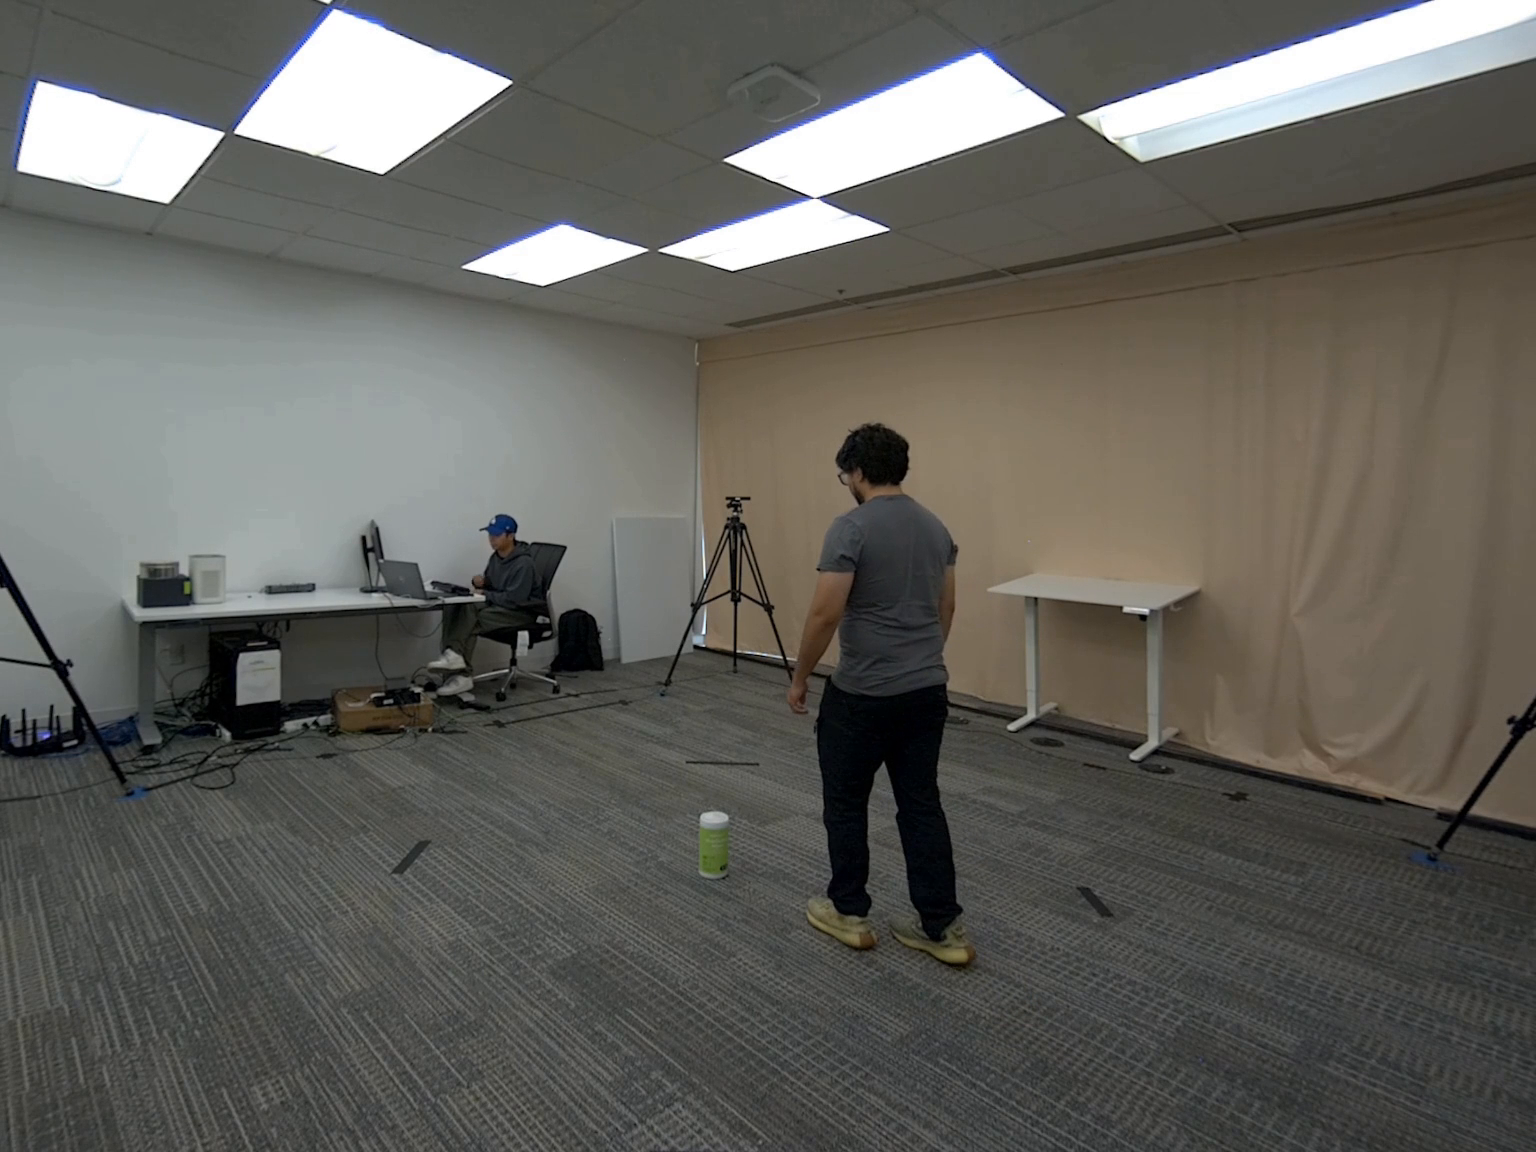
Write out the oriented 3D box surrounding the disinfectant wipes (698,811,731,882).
[{"bbox_3d":[-0.210,0.996,3.117,0.118,0.217,0.118,1,3,-1],"label":"disinfectant wipes"}]
